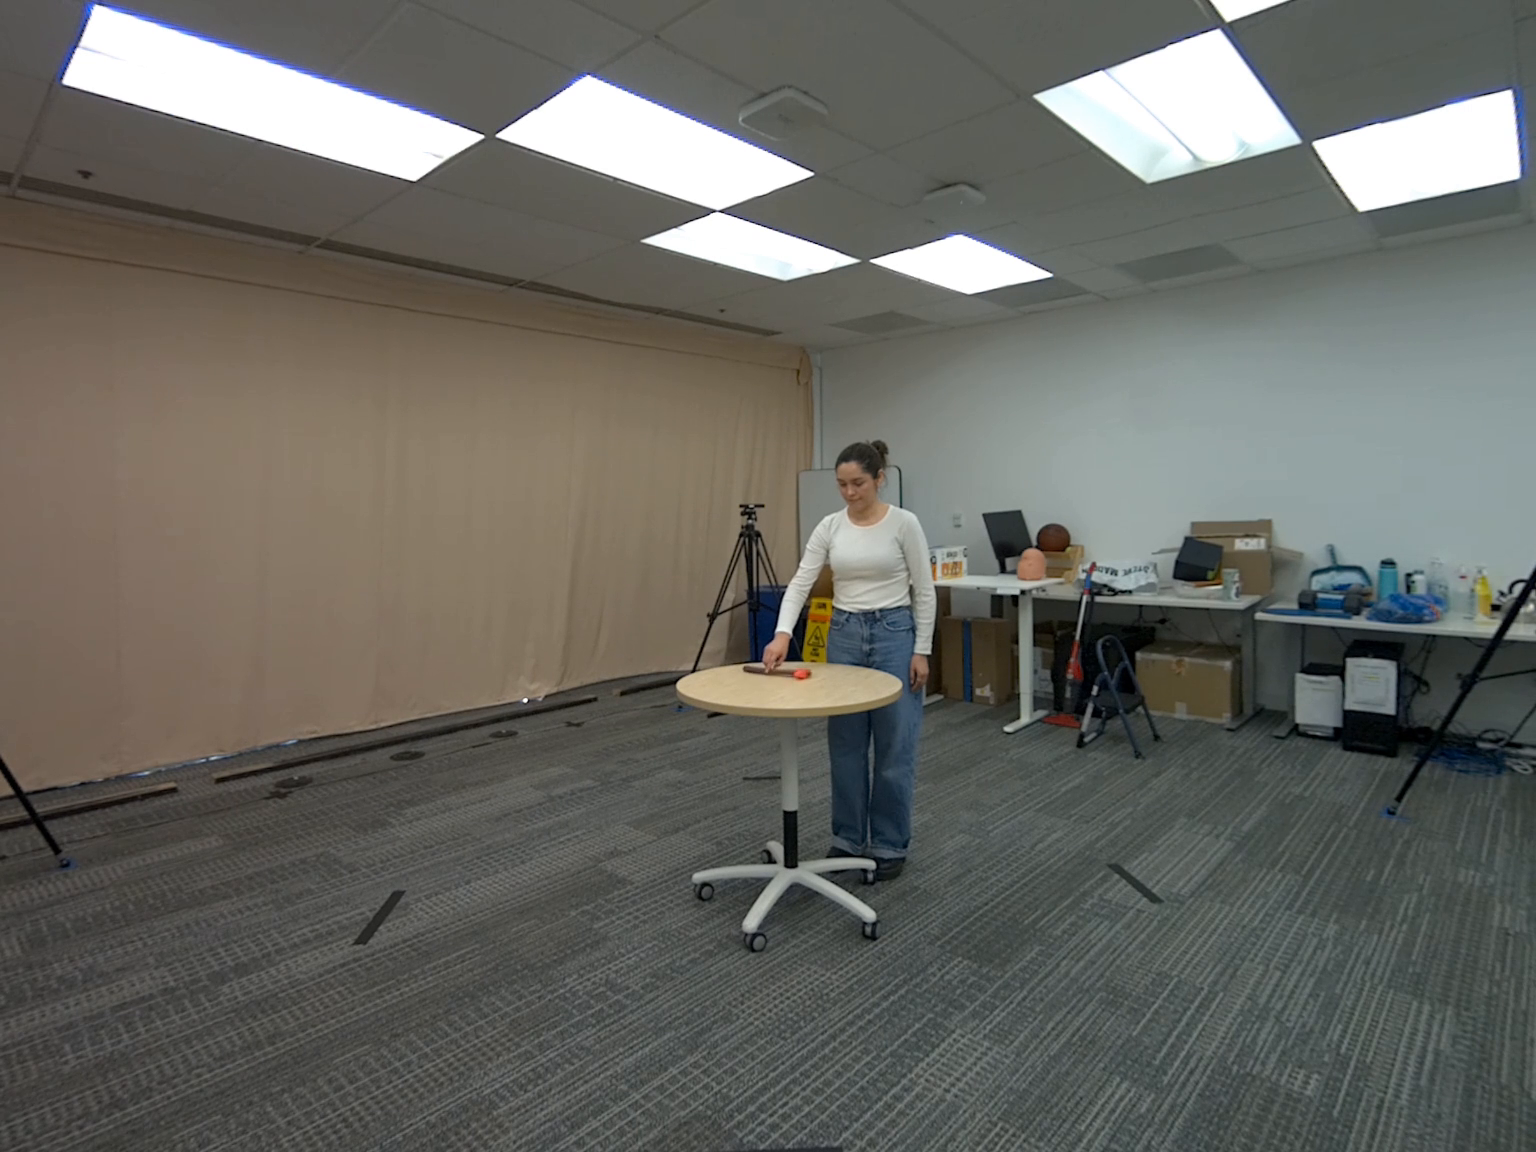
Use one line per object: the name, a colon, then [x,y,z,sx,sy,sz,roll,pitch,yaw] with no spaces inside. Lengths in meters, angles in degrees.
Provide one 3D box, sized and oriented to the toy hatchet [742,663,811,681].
toy hatchet: [0.041,0.342,3.043,0.279,0.029,0.127,1,2,44]
